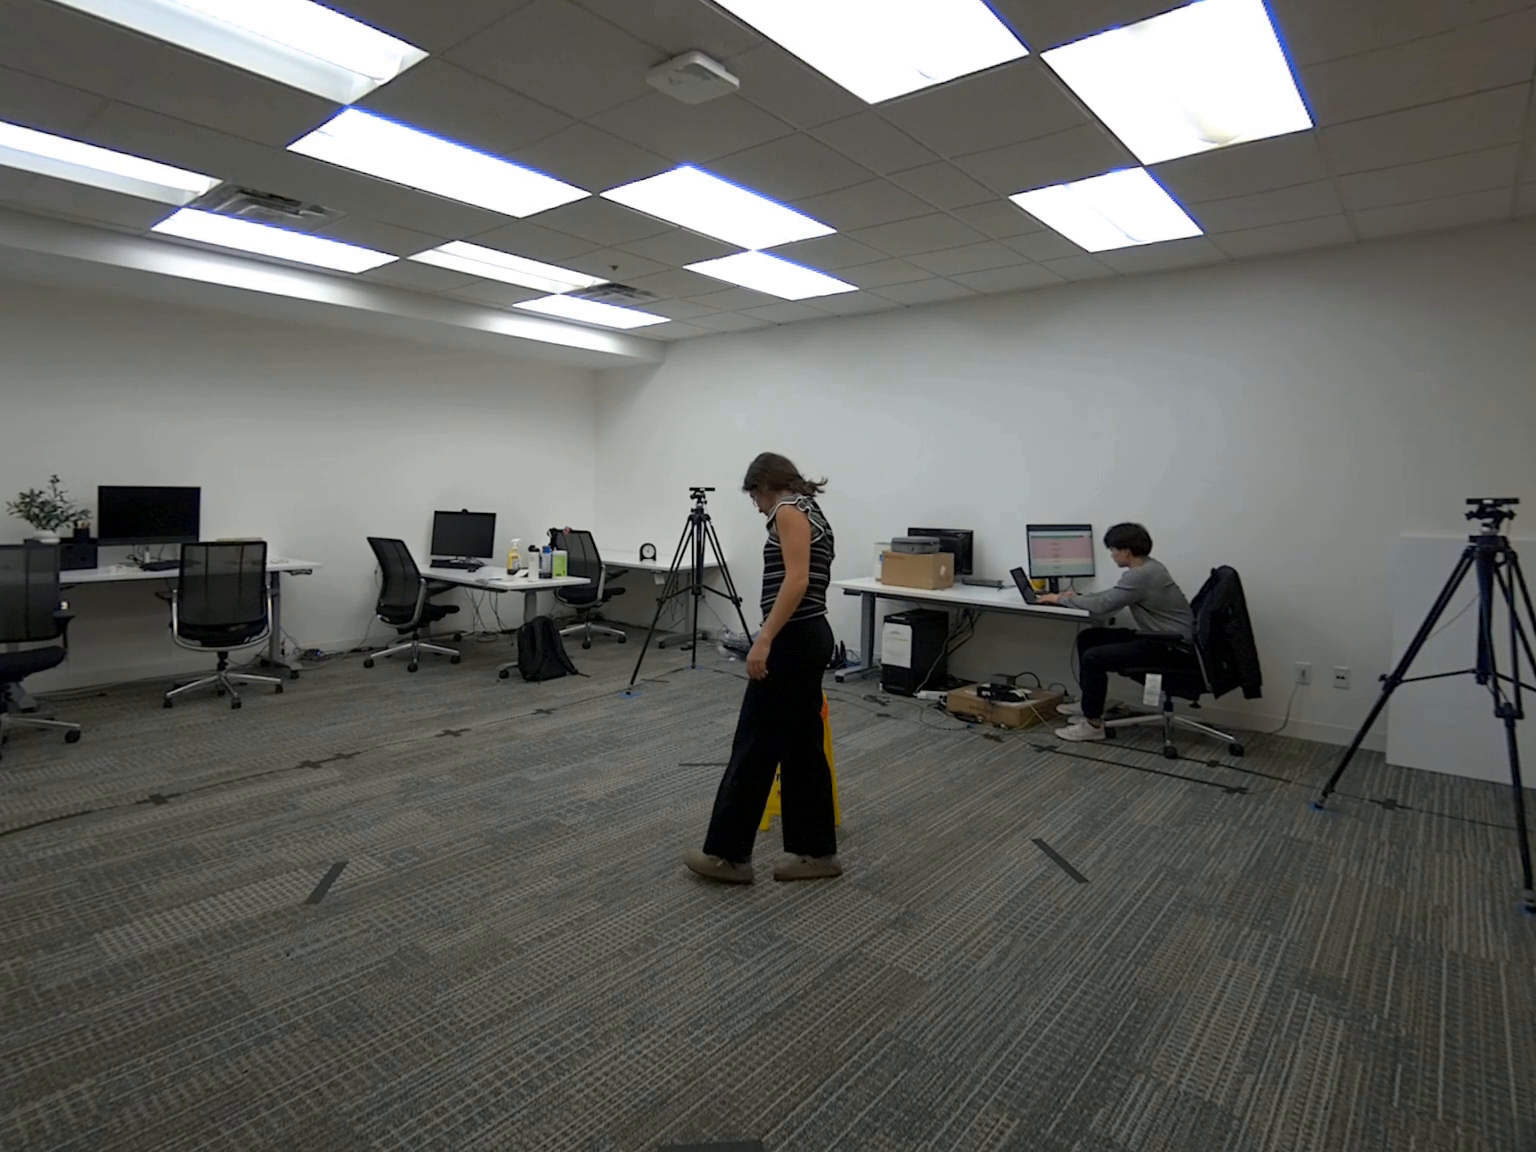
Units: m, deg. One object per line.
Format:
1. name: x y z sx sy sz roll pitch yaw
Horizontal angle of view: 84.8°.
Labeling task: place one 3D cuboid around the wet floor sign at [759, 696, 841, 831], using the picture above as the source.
1. wet floor sign: 0.118 0.703 3.508 0.291 0.645 0.281 4 3 36
